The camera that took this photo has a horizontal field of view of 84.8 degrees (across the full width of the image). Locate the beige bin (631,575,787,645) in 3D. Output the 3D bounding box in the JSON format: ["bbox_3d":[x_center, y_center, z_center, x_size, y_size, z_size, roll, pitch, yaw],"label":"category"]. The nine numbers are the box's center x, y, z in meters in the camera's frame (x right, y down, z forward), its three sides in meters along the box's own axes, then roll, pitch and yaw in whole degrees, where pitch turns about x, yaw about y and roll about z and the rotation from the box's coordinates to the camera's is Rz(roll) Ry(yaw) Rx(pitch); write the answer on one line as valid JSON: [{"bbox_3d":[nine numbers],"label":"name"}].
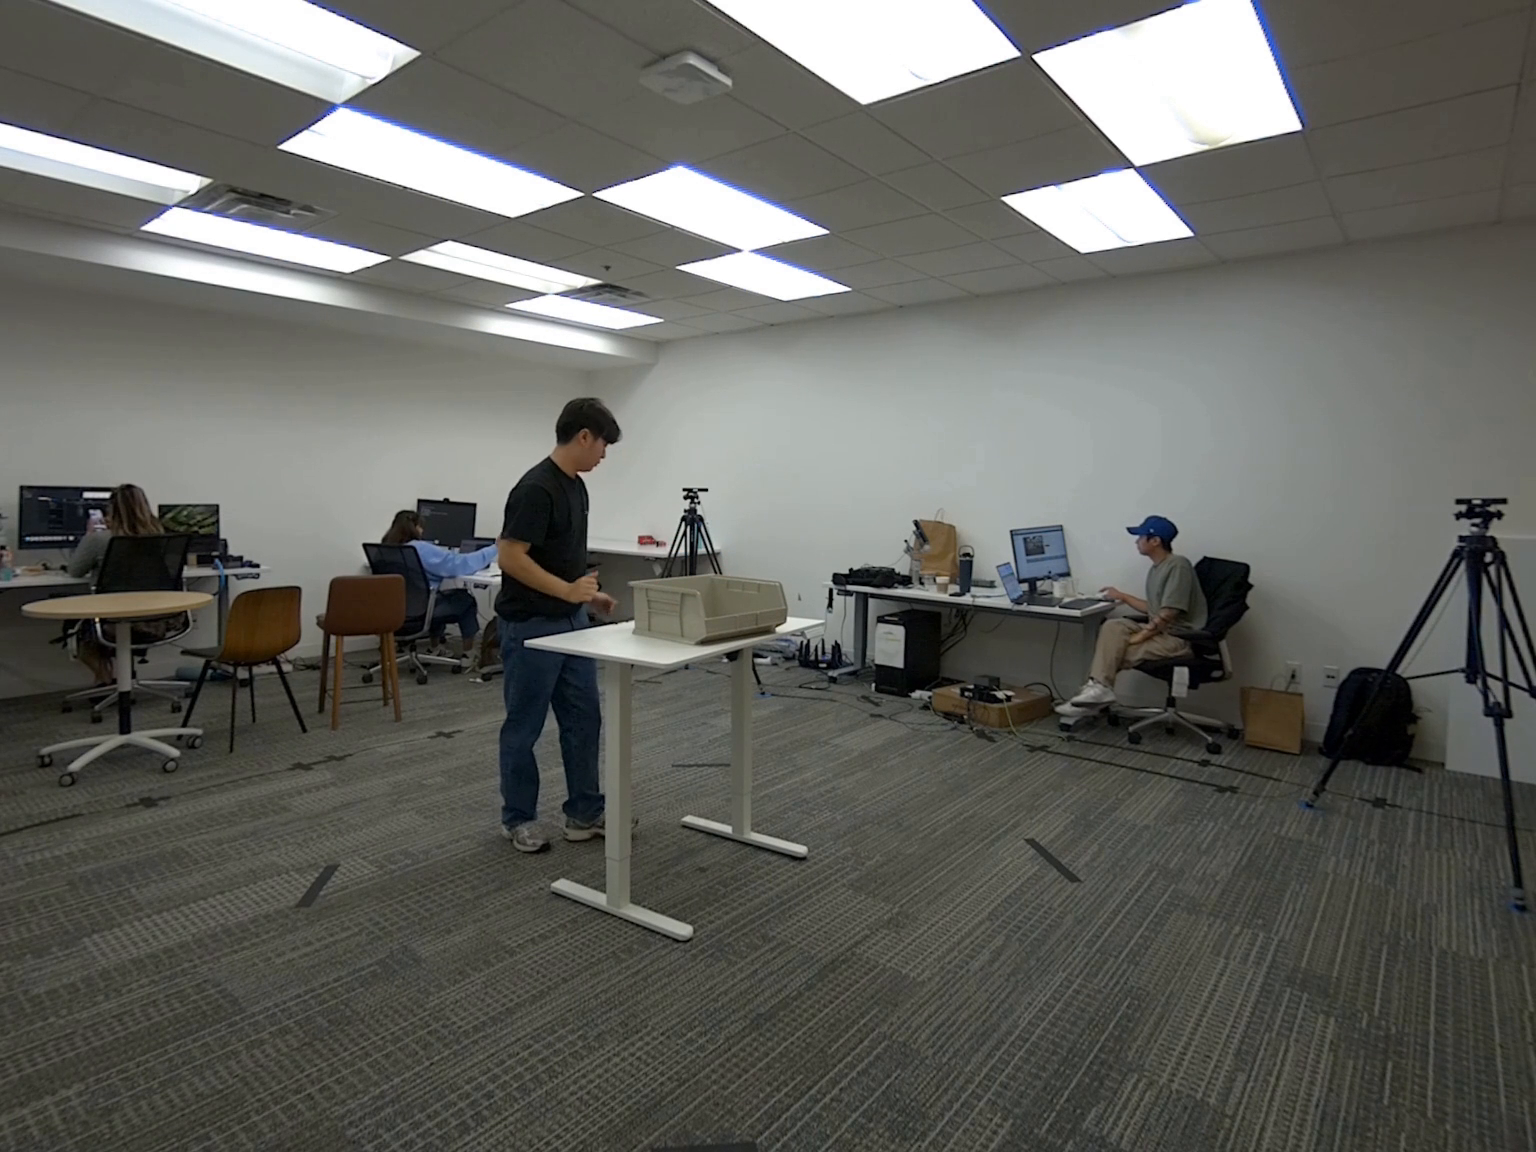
[{"bbox_3d":[-0.215,0.110,2.981,0.390,0.188,0.410,4,7,42],"label":"beige bin"}]
